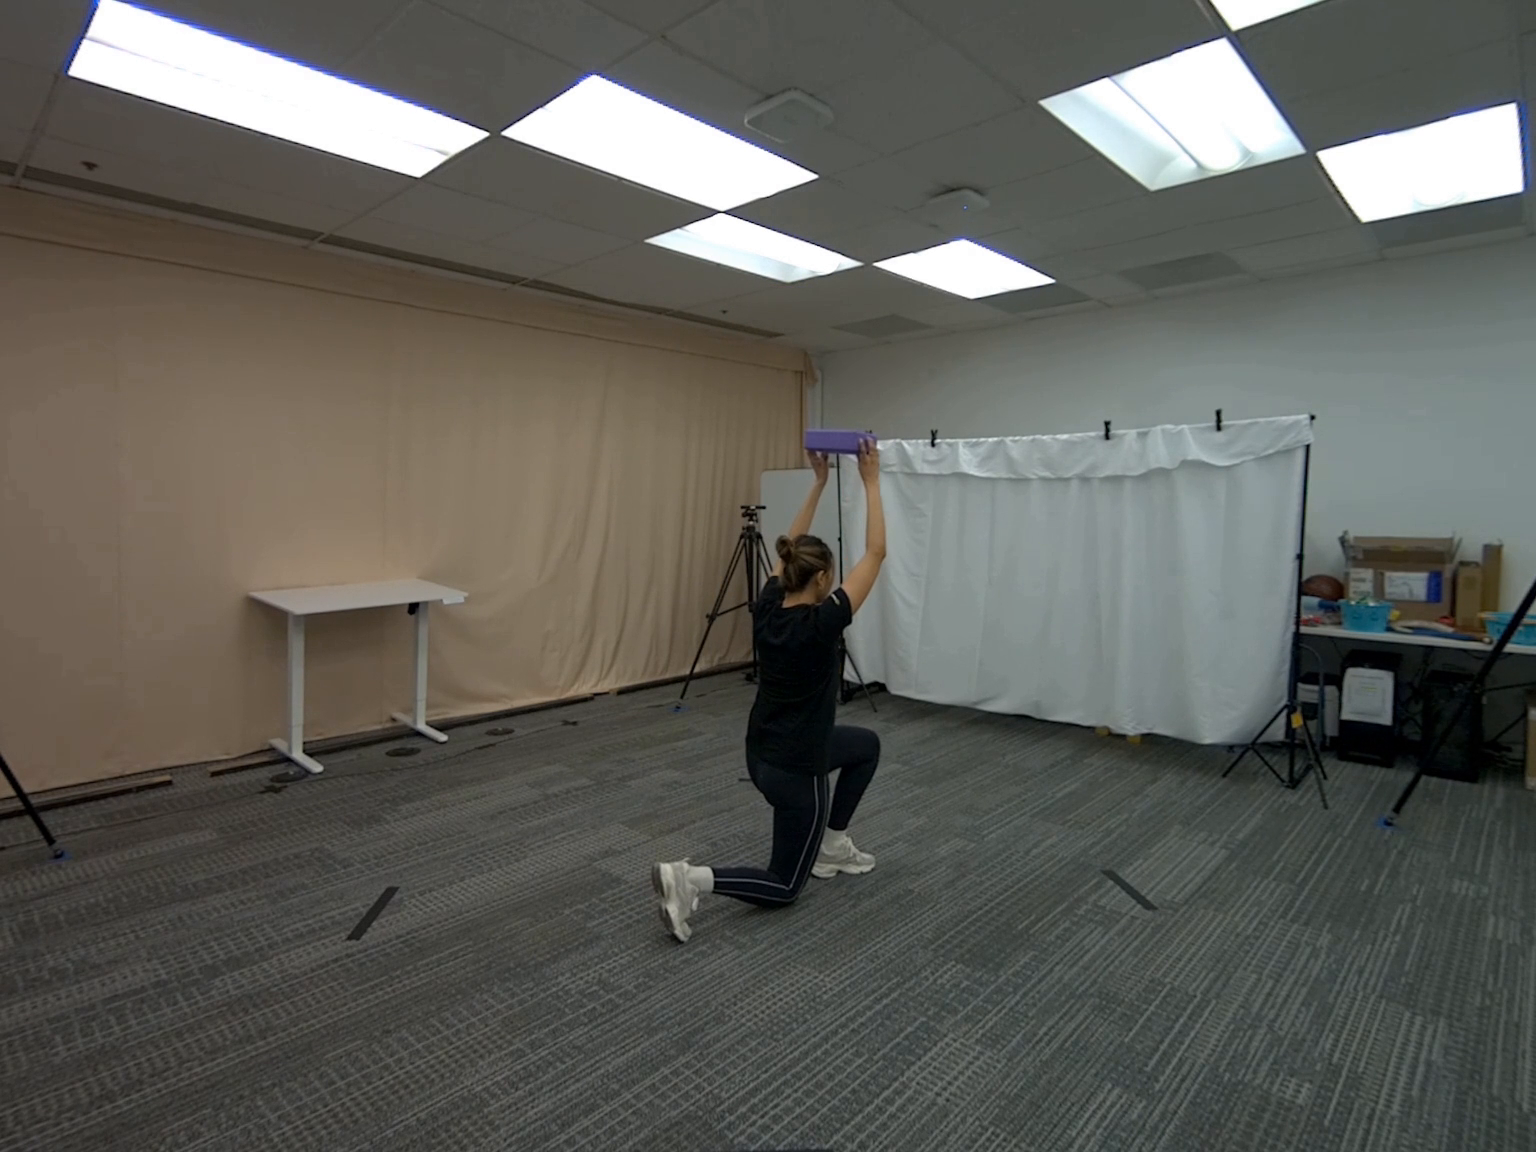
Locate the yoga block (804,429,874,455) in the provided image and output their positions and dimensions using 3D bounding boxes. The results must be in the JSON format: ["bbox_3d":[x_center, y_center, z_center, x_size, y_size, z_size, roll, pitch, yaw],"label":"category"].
[{"bbox_3d":[0.272,-0.494,3.078,0.237,0.076,0.144,12,7,42],"label":"yoga block"}]
